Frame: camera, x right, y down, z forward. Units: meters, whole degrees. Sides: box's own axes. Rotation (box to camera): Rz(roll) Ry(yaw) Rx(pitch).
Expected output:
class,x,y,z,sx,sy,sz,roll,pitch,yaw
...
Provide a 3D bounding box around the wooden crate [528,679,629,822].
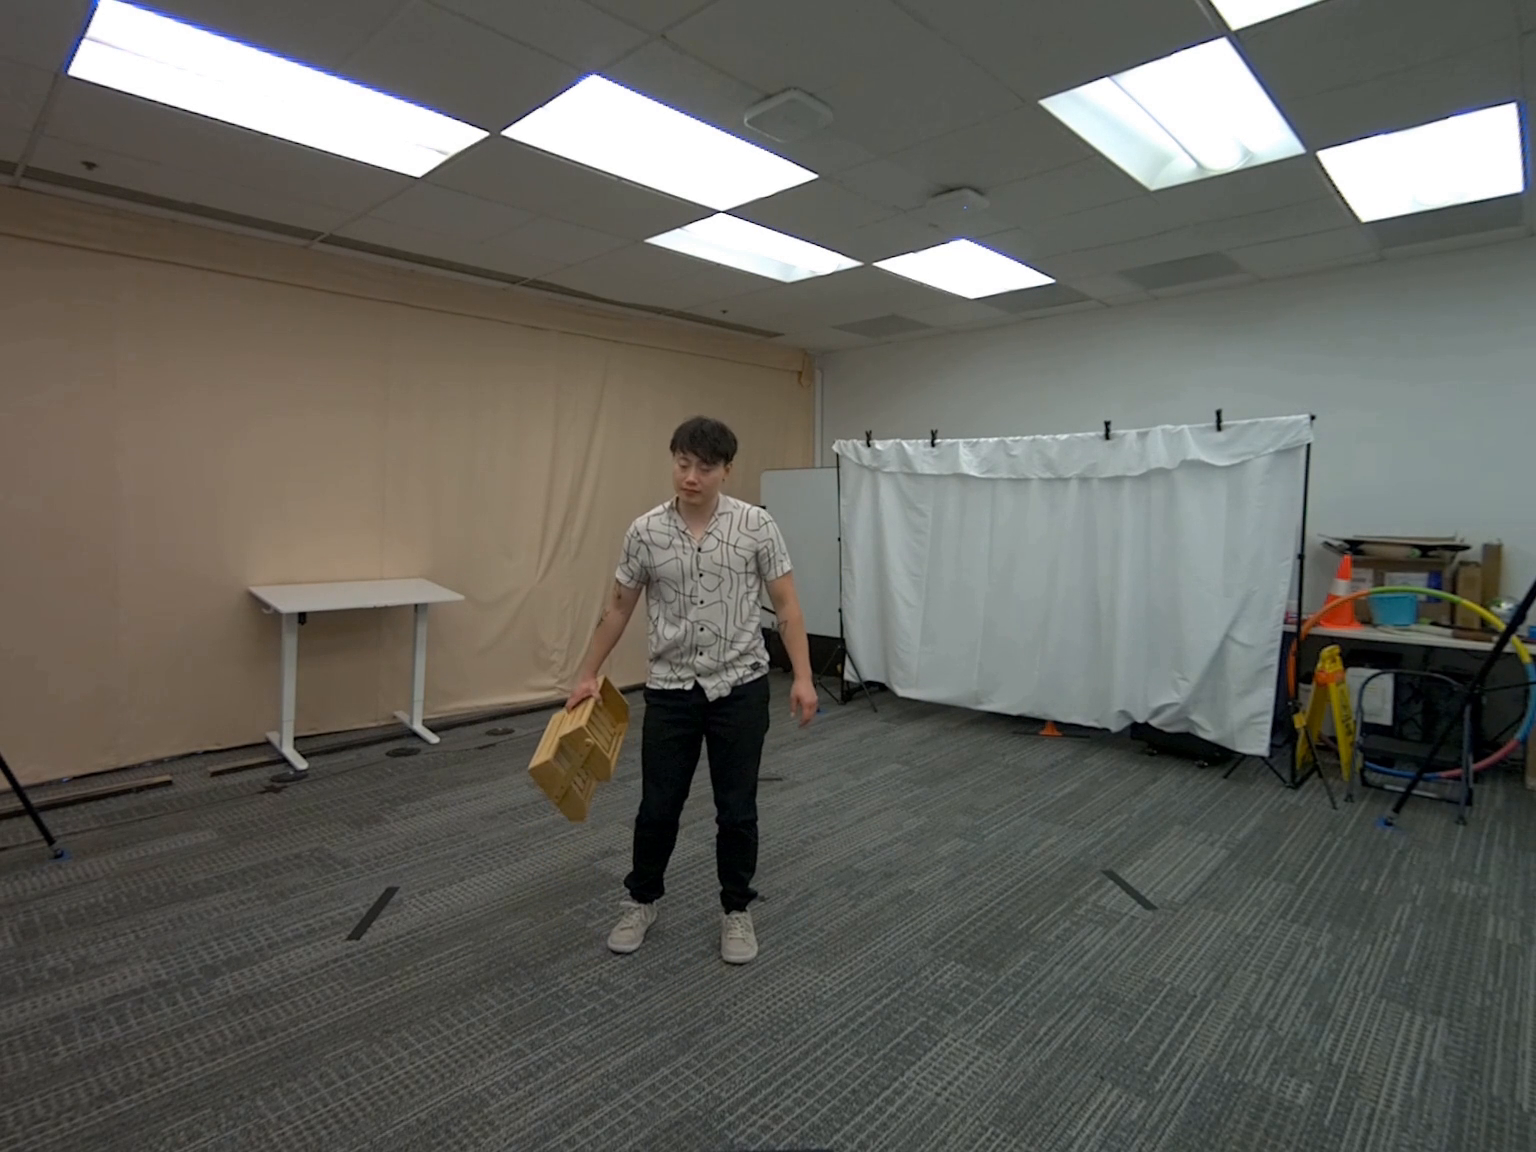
class,x,y,z,sx,sy,sz,roll,pitch,yaw
wooden crate,-0.582,0.564,2.753,0.276,0.296,0.327,-29,19,16
